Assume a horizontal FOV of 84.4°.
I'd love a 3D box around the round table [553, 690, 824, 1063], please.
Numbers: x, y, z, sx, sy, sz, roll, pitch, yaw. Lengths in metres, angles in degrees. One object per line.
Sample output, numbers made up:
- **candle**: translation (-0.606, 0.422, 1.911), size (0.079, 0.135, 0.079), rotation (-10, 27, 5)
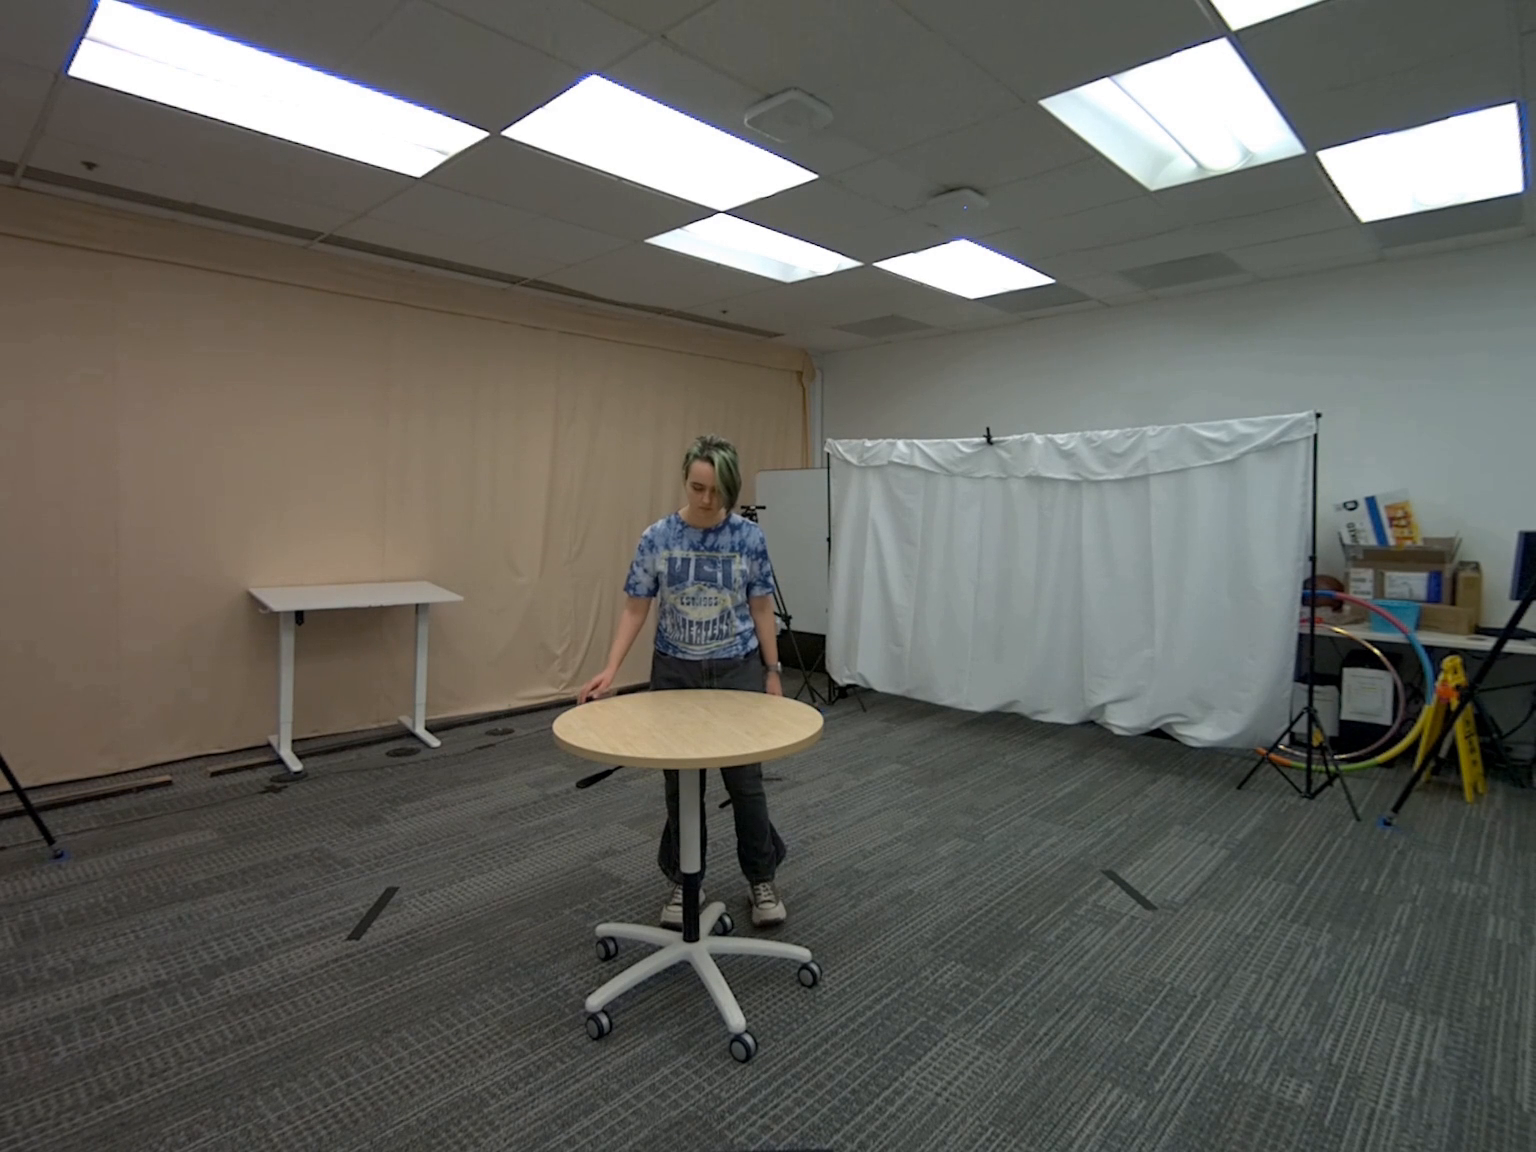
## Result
- **round table**: translation (-0.232, 0.795, 2.434), size (0.784, 0.785, 0.788), rotation (0, 4, -2)
